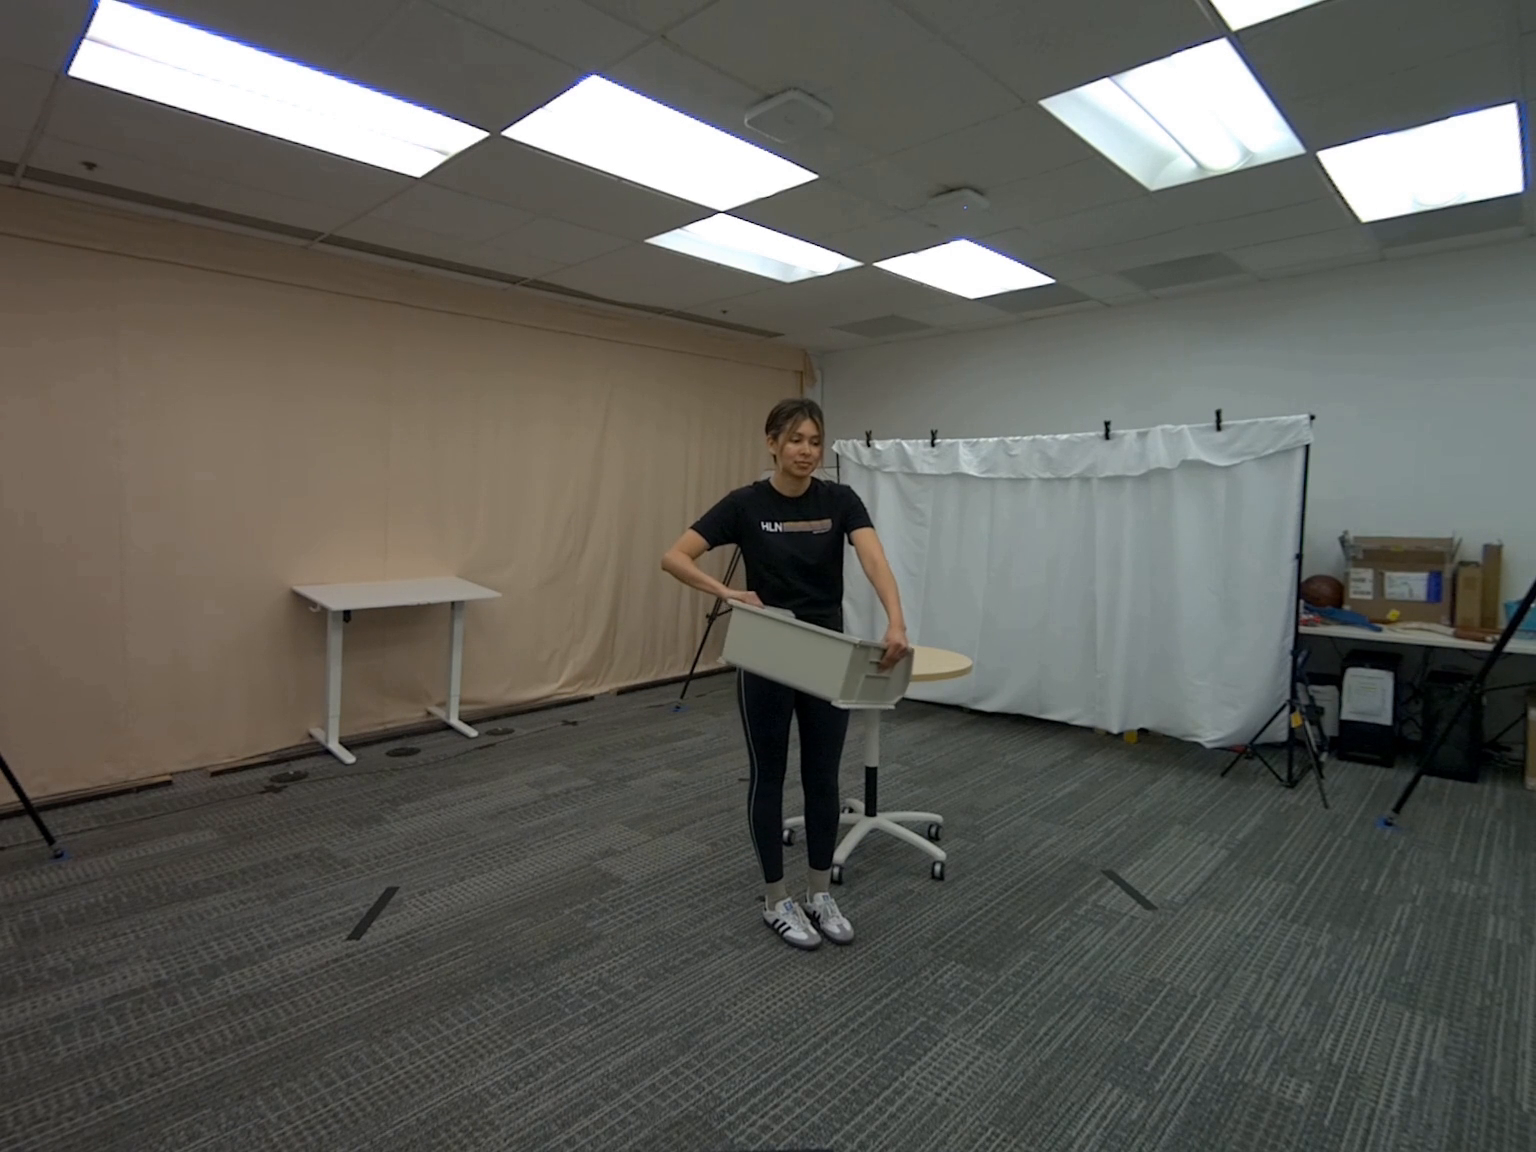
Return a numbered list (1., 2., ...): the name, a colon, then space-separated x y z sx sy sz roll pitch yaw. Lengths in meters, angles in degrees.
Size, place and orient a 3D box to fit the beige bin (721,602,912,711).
1. beige bin: 0.142 0.221 2.362 0.437 0.189 0.364 15 2 36
